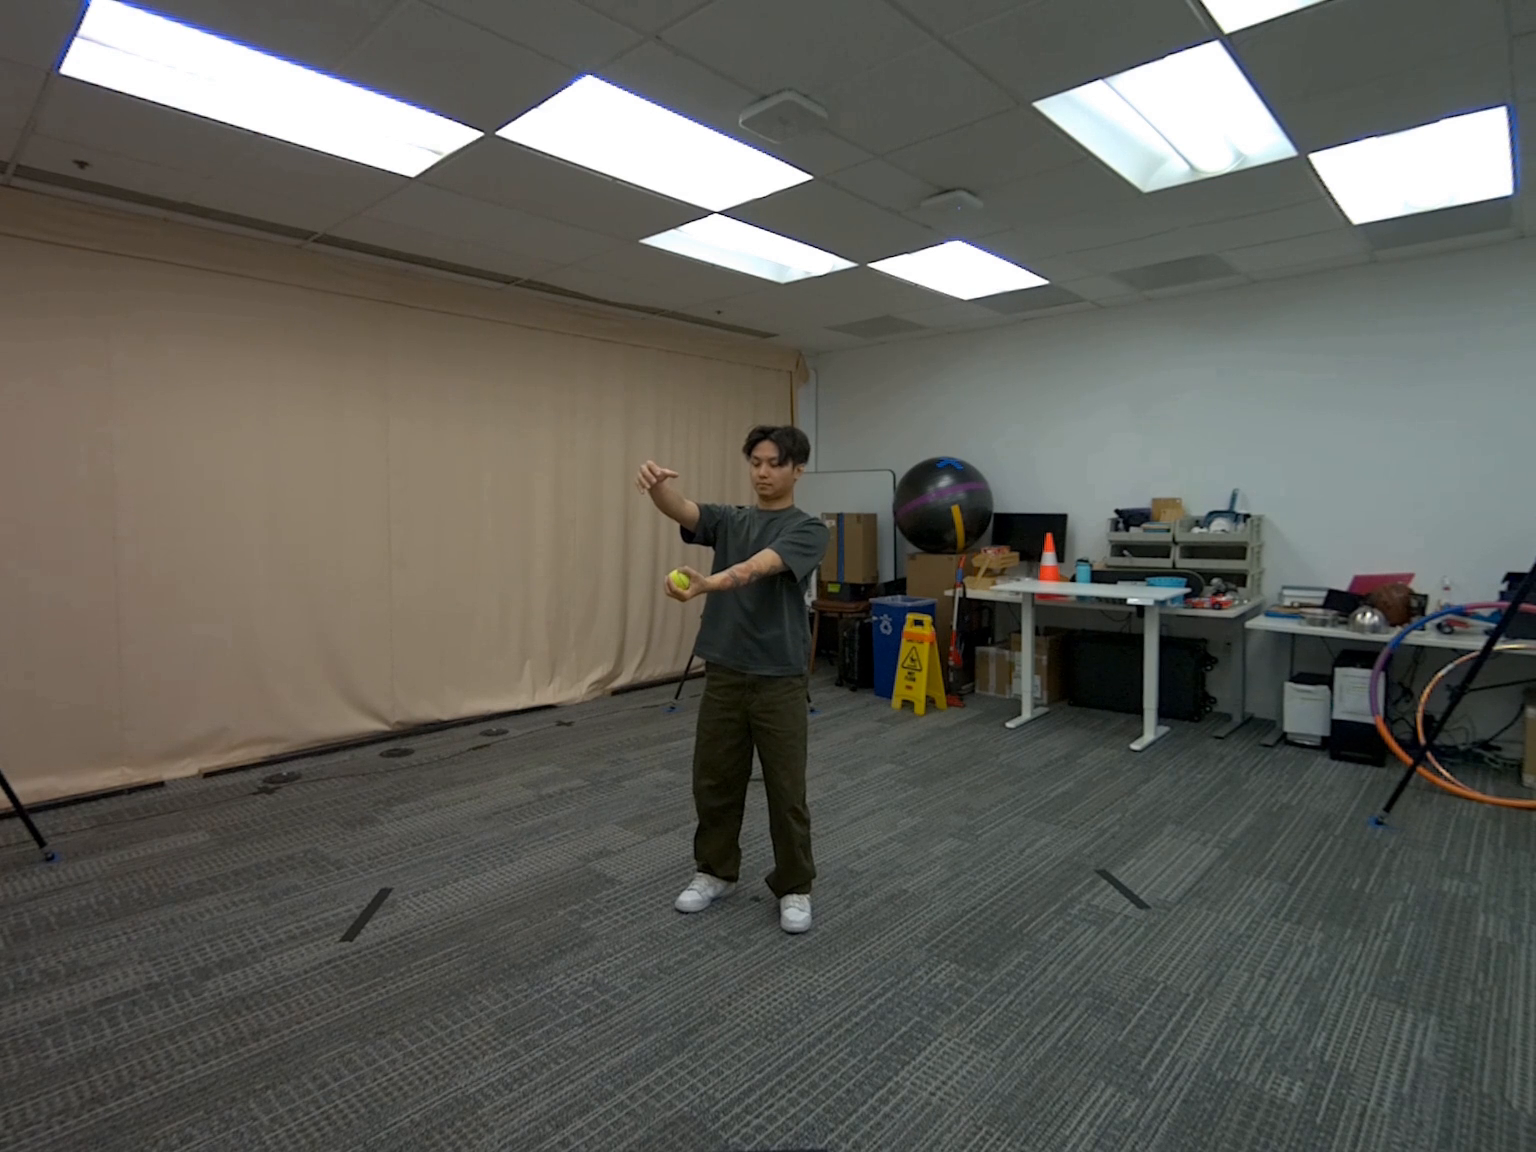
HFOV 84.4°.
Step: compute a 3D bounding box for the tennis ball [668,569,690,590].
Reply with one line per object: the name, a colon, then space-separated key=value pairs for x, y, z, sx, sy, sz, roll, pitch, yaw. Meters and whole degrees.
tennis ball: x=-0.246 y=0.016 z=2.426 sx=0.066 sy=0.066 sz=0.067 roll=0 pitch=4 yaw=-2
